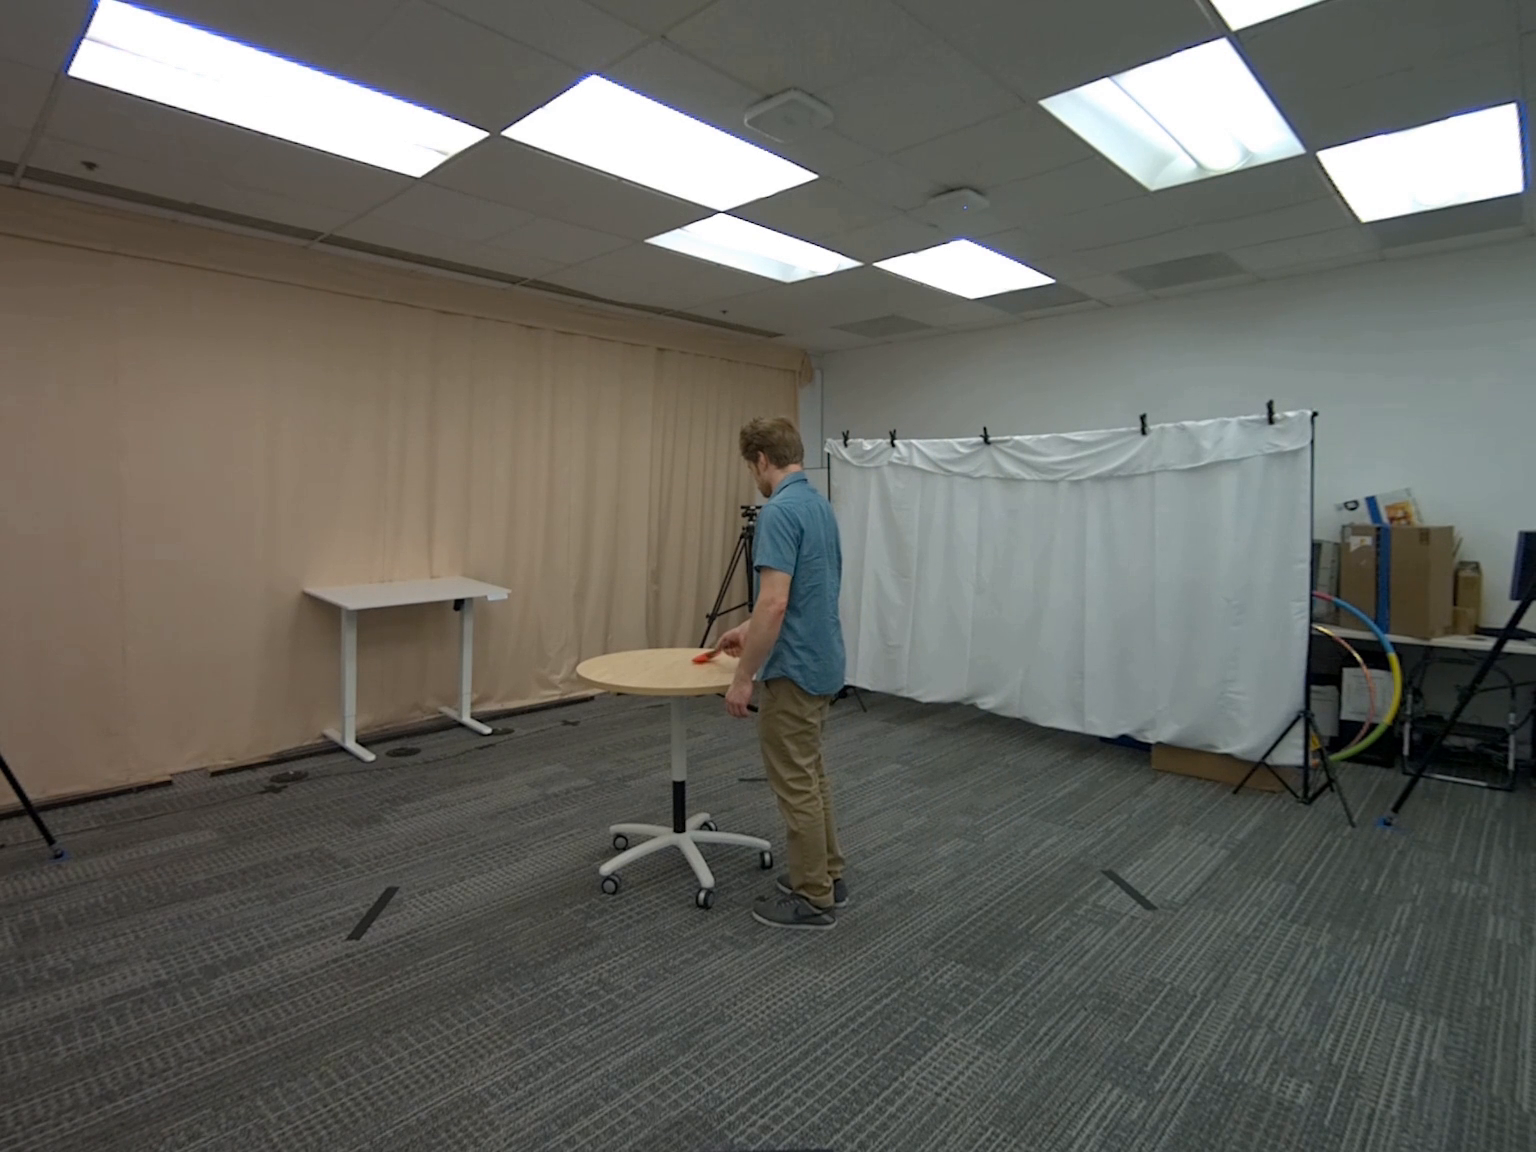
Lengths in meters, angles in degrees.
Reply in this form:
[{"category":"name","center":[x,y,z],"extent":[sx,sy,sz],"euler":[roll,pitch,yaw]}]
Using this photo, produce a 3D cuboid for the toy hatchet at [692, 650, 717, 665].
[{"category":"toy hatchet","center":[-0.220,0.295,3.187],"extent":[0.130,0.030,0.270],"euler":[-16,-9,-11]}]
